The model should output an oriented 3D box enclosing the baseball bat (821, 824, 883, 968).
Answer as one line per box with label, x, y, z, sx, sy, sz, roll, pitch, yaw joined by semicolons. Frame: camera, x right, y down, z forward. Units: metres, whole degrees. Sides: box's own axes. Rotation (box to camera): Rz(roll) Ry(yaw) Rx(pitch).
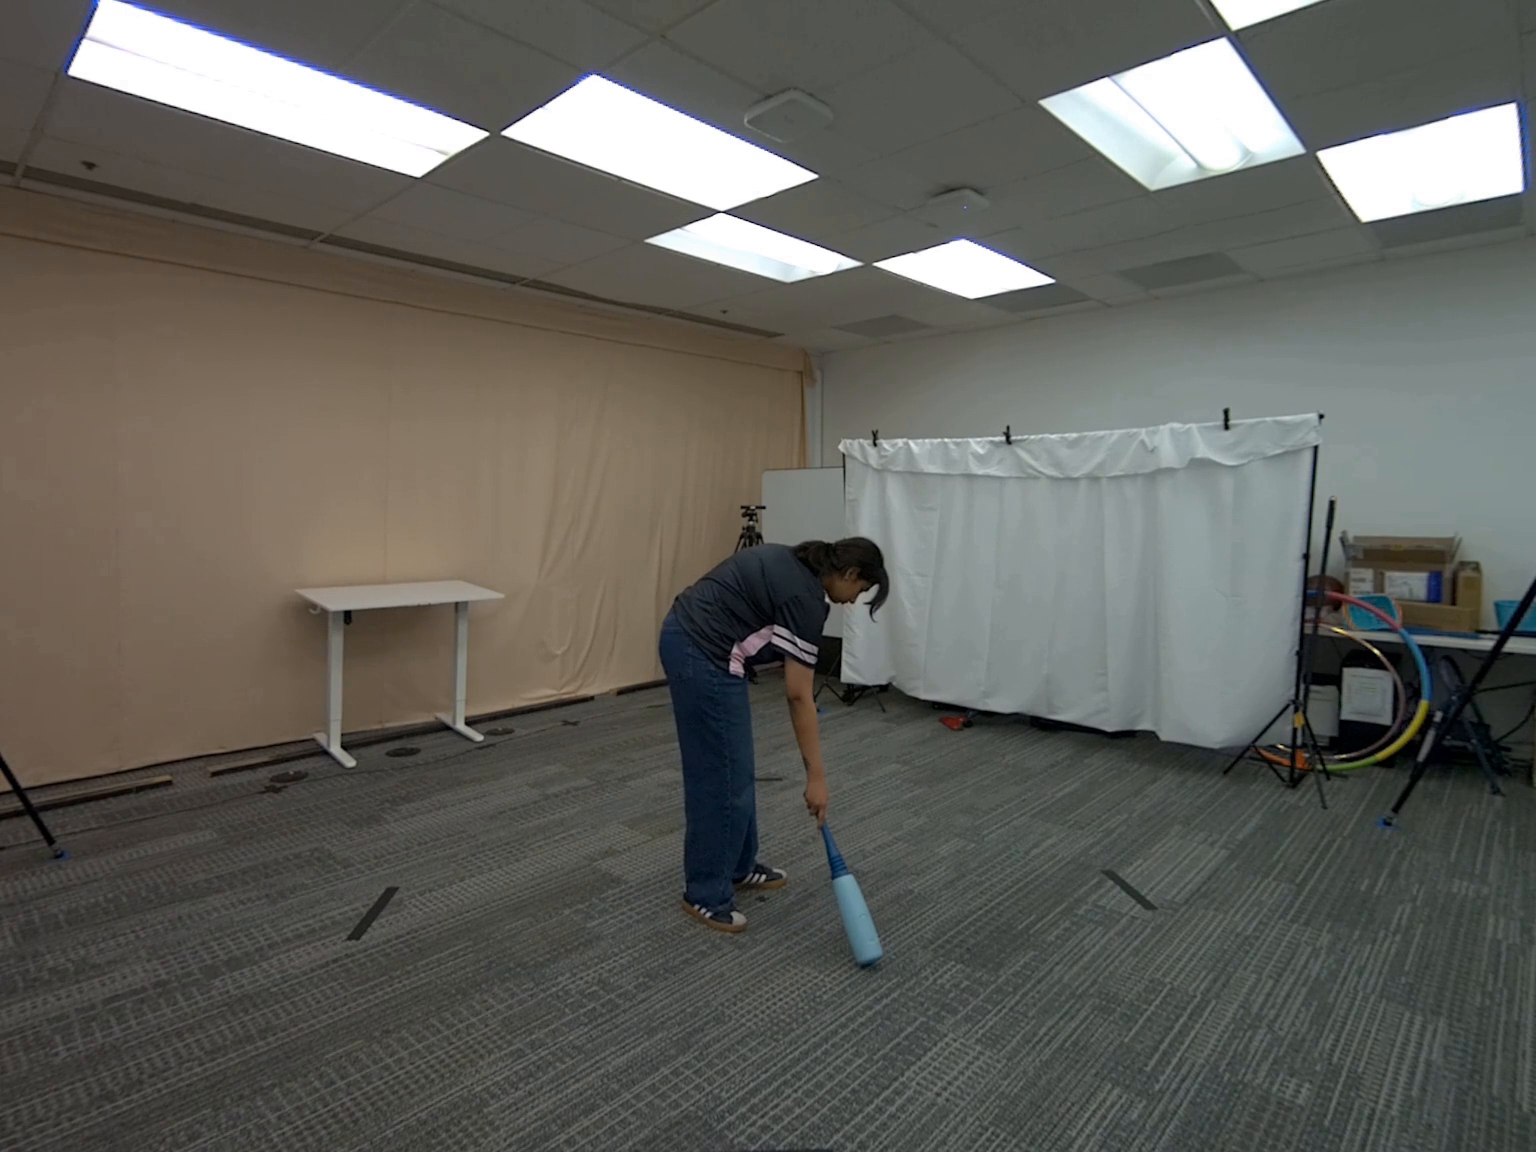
baseball bat;0.235;0.943;2.667;0.088;0.557;0.087;-14;-32;-10
